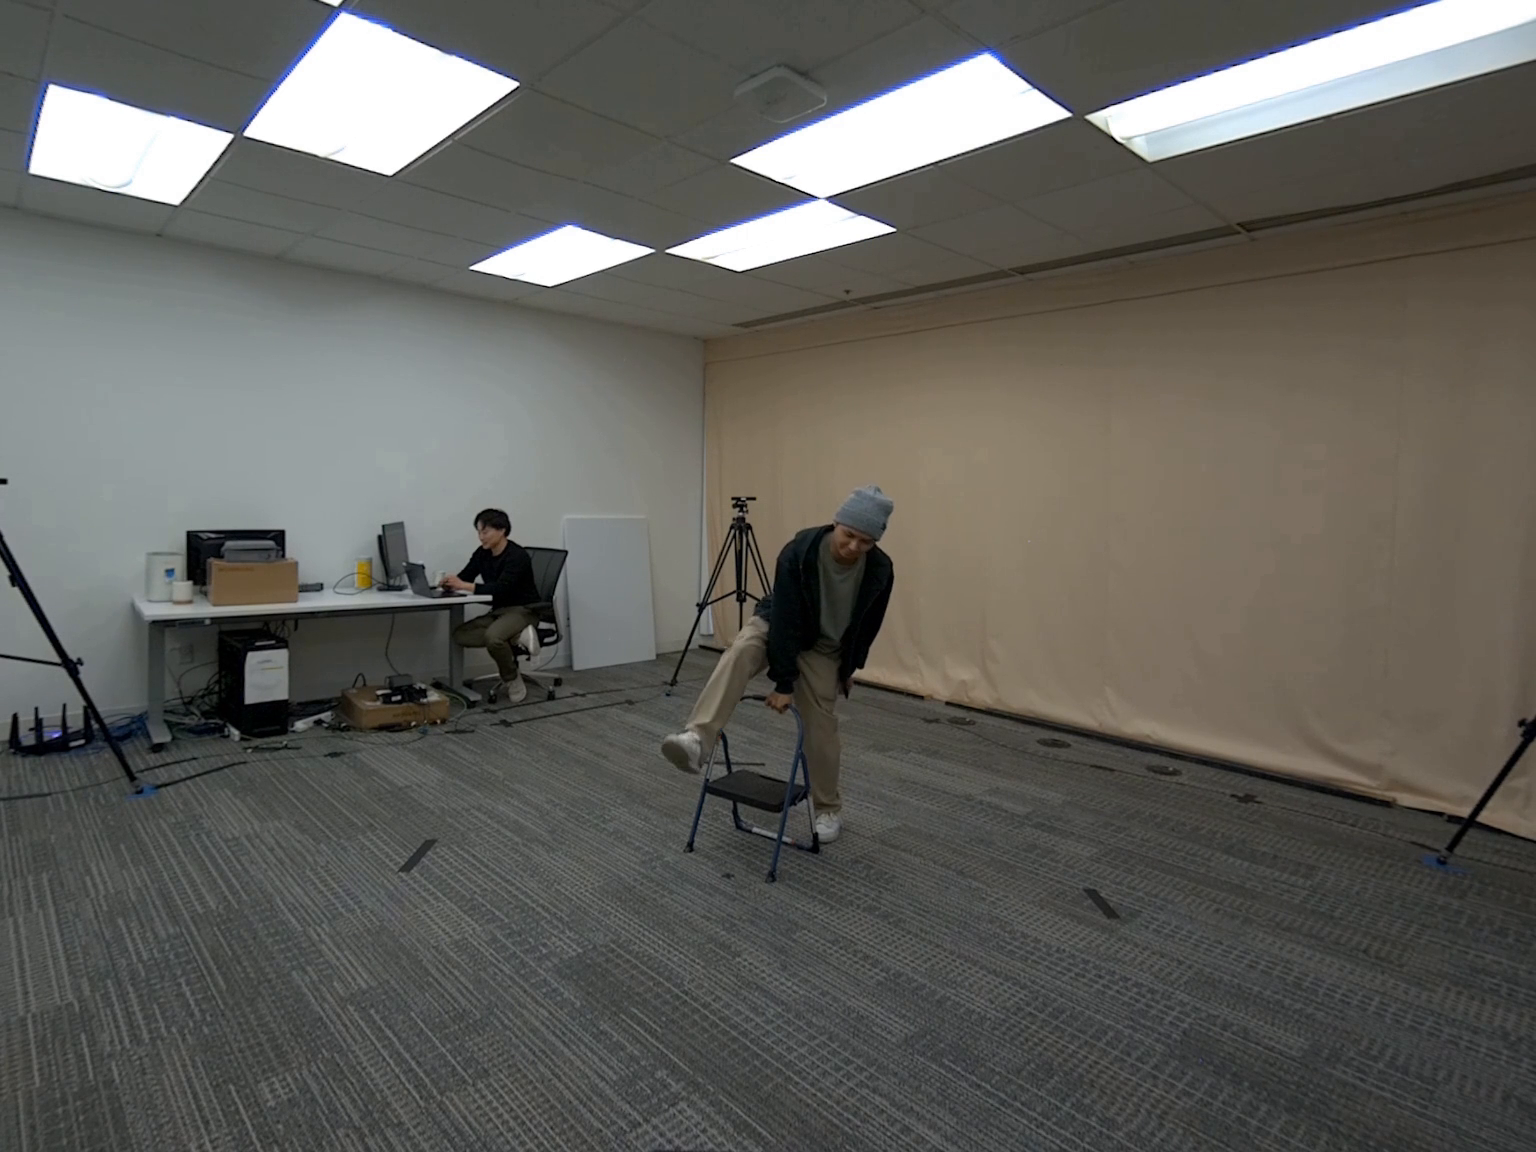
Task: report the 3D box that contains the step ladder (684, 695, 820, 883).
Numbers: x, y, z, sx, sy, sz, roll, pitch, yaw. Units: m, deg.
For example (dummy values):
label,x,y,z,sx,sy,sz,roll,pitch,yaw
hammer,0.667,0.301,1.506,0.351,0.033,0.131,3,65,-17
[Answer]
label,x,y,z,sx,sy,sz,roll,pitch,yaw
step ladder,-0.059,0.790,3.305,0.441,0.604,0.342,4,5,36
